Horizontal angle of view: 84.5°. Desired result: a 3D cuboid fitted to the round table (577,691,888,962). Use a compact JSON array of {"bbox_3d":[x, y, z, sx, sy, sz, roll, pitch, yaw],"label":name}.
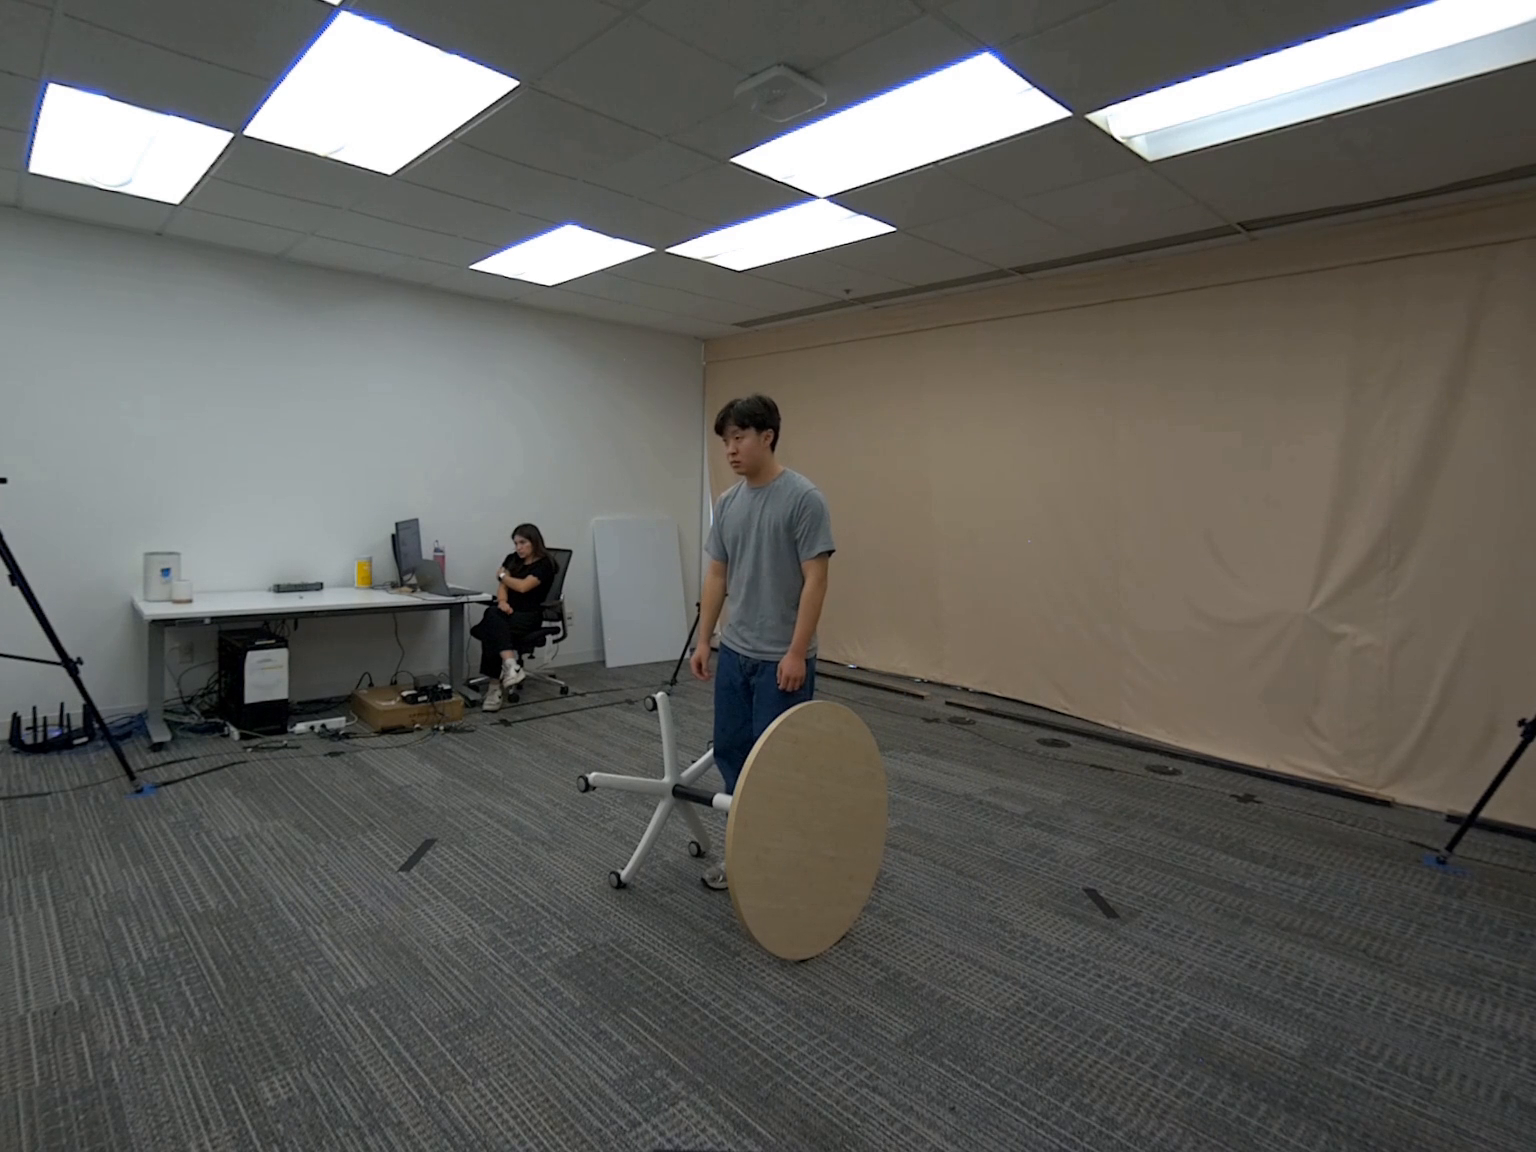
[{"bbox_3d":[-0.153,0.787,2.869,0.812,0.764,0.747,-3,0,43],"label":"round table"}]
